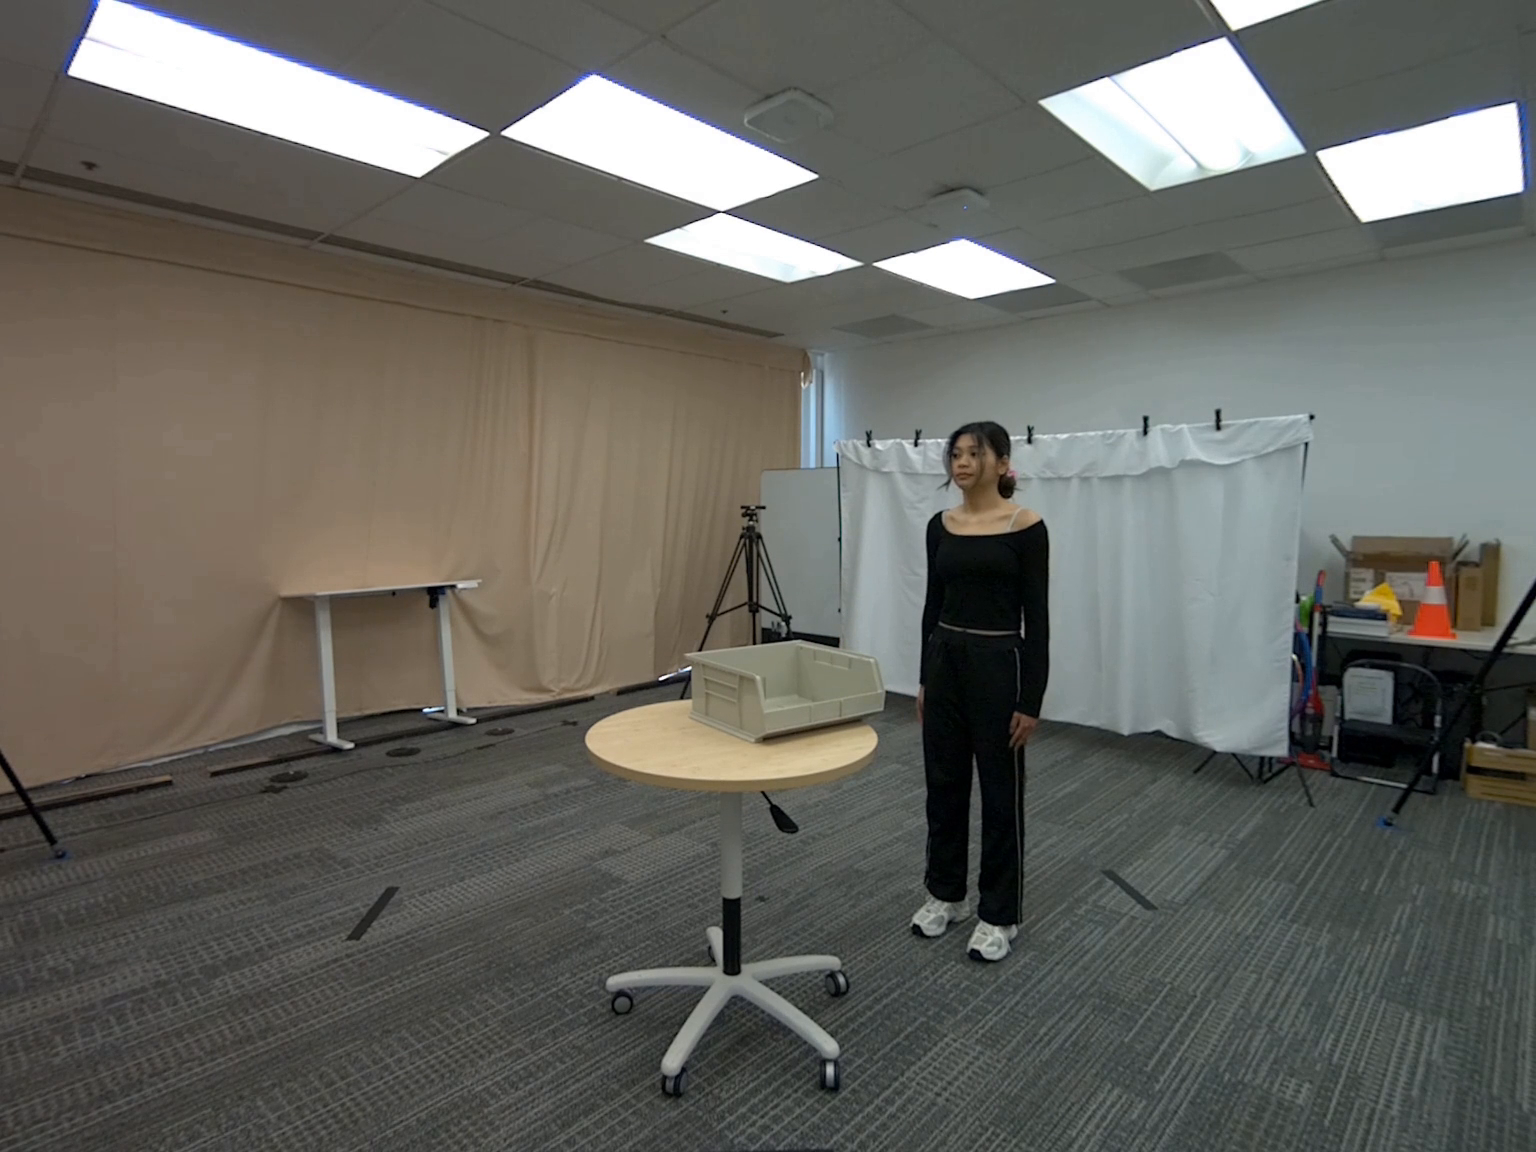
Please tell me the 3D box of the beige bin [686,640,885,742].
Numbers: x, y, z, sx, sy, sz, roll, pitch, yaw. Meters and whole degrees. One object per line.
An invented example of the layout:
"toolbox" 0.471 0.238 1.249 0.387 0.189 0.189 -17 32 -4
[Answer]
"beige bin" 0.056 0.314 2.351 0.410 0.188 0.389 -4 5 -35
